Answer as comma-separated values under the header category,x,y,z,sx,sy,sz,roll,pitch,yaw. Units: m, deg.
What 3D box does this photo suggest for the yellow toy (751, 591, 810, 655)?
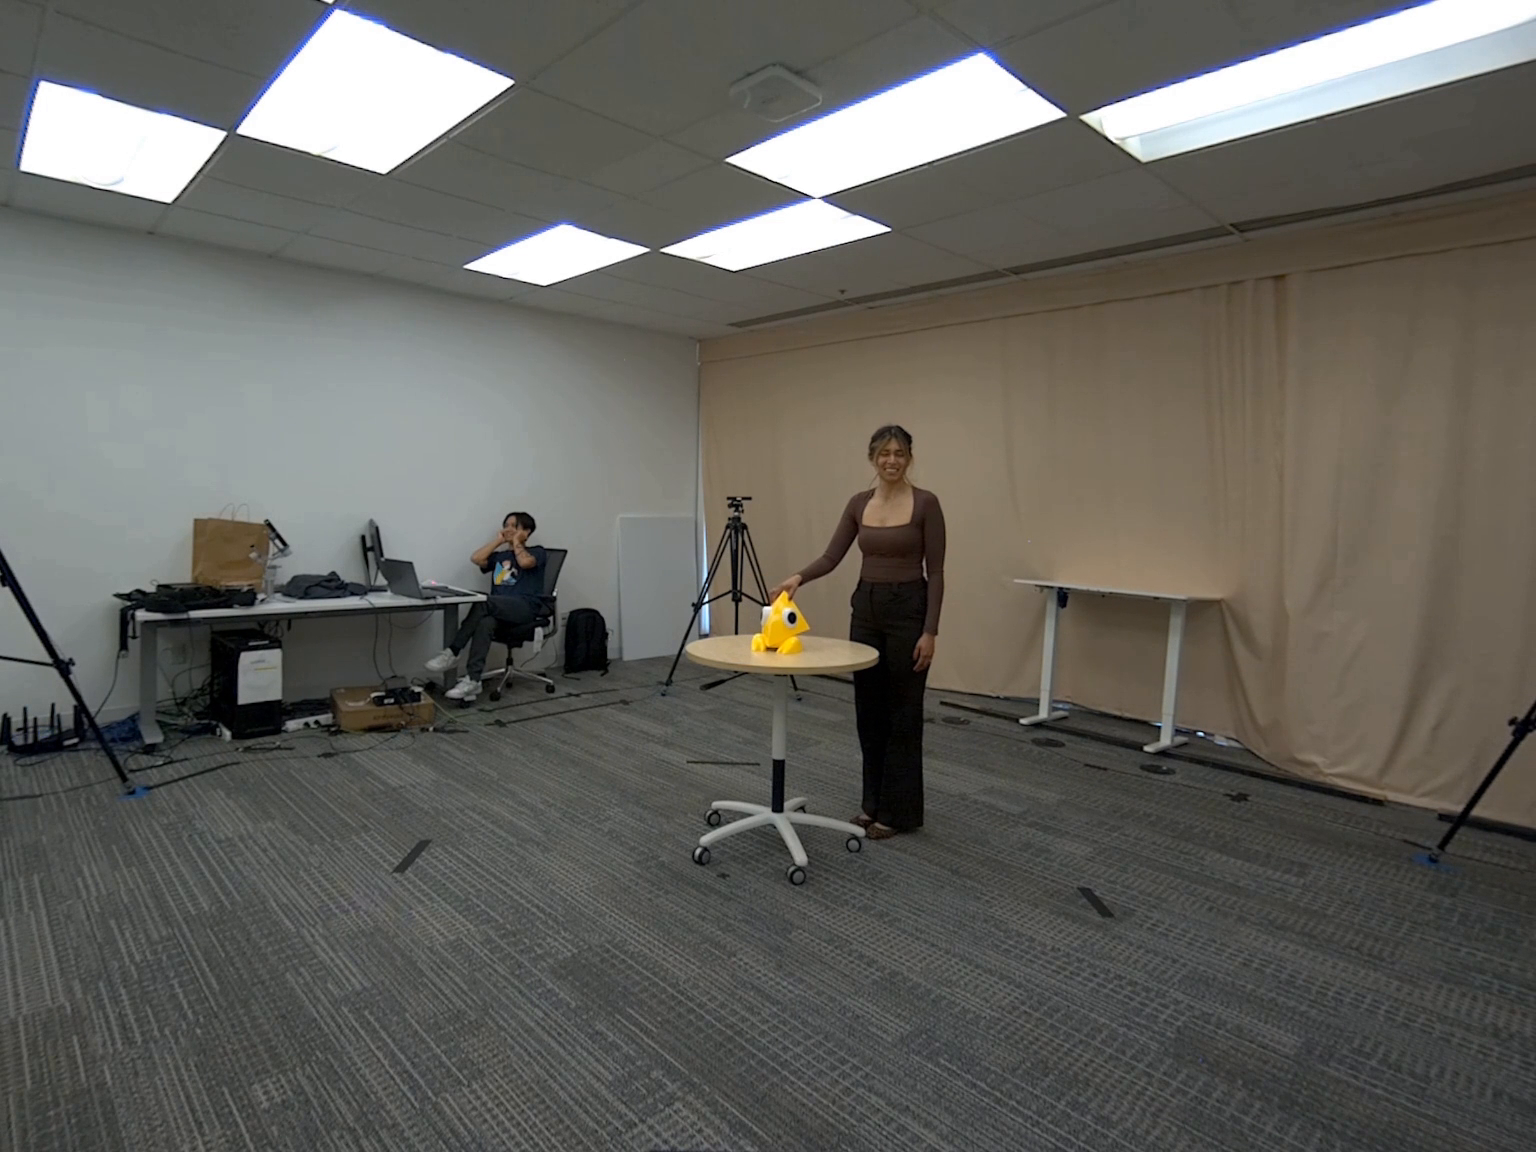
category,x,y,z,sx,sy,sz,roll,pitch,yaw
yellow toy,0.033,0.177,3.346,0.208,0.230,0.190,2,3,24
